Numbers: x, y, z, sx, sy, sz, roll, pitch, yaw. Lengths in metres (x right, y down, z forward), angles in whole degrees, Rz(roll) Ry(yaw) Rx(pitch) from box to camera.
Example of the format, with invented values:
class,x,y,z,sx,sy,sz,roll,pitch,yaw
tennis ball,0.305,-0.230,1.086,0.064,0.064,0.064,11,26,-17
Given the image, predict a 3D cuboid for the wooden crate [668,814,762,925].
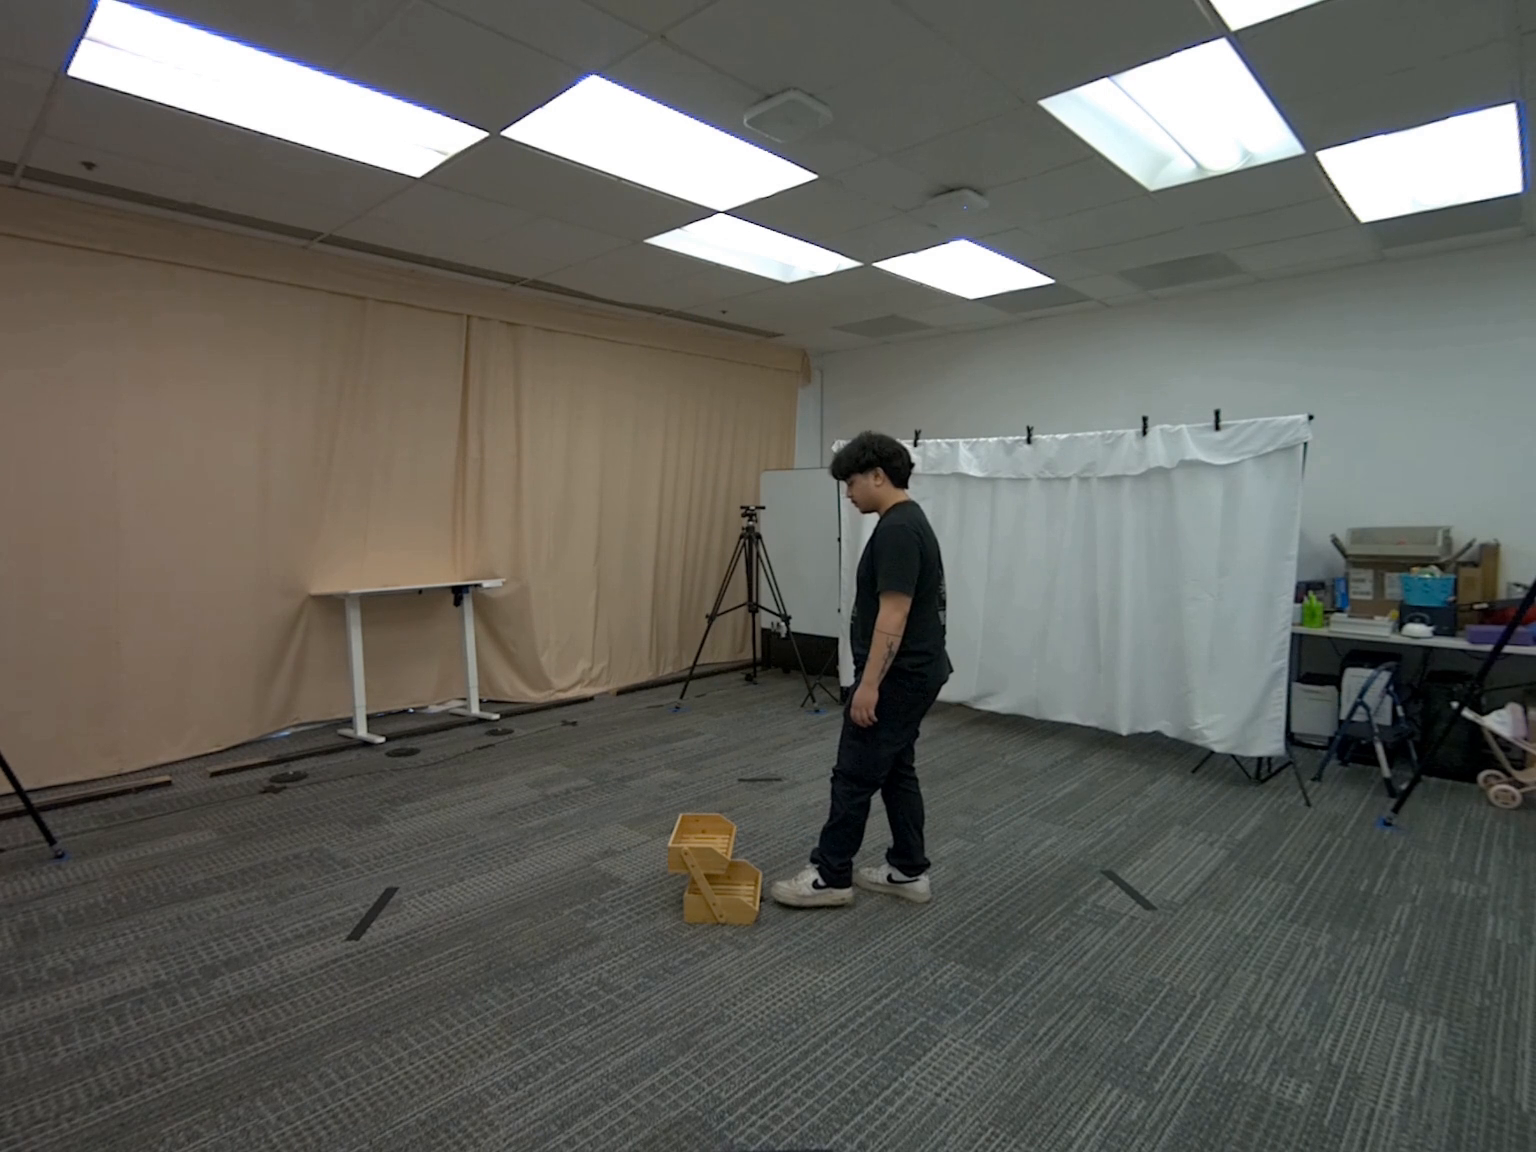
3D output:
class,x,y,z,sx,sy,sz,roll,pitch,yaw
wooden crate,-0.172,1.018,2.954,0.303,0.273,0.324,-1,4,3
